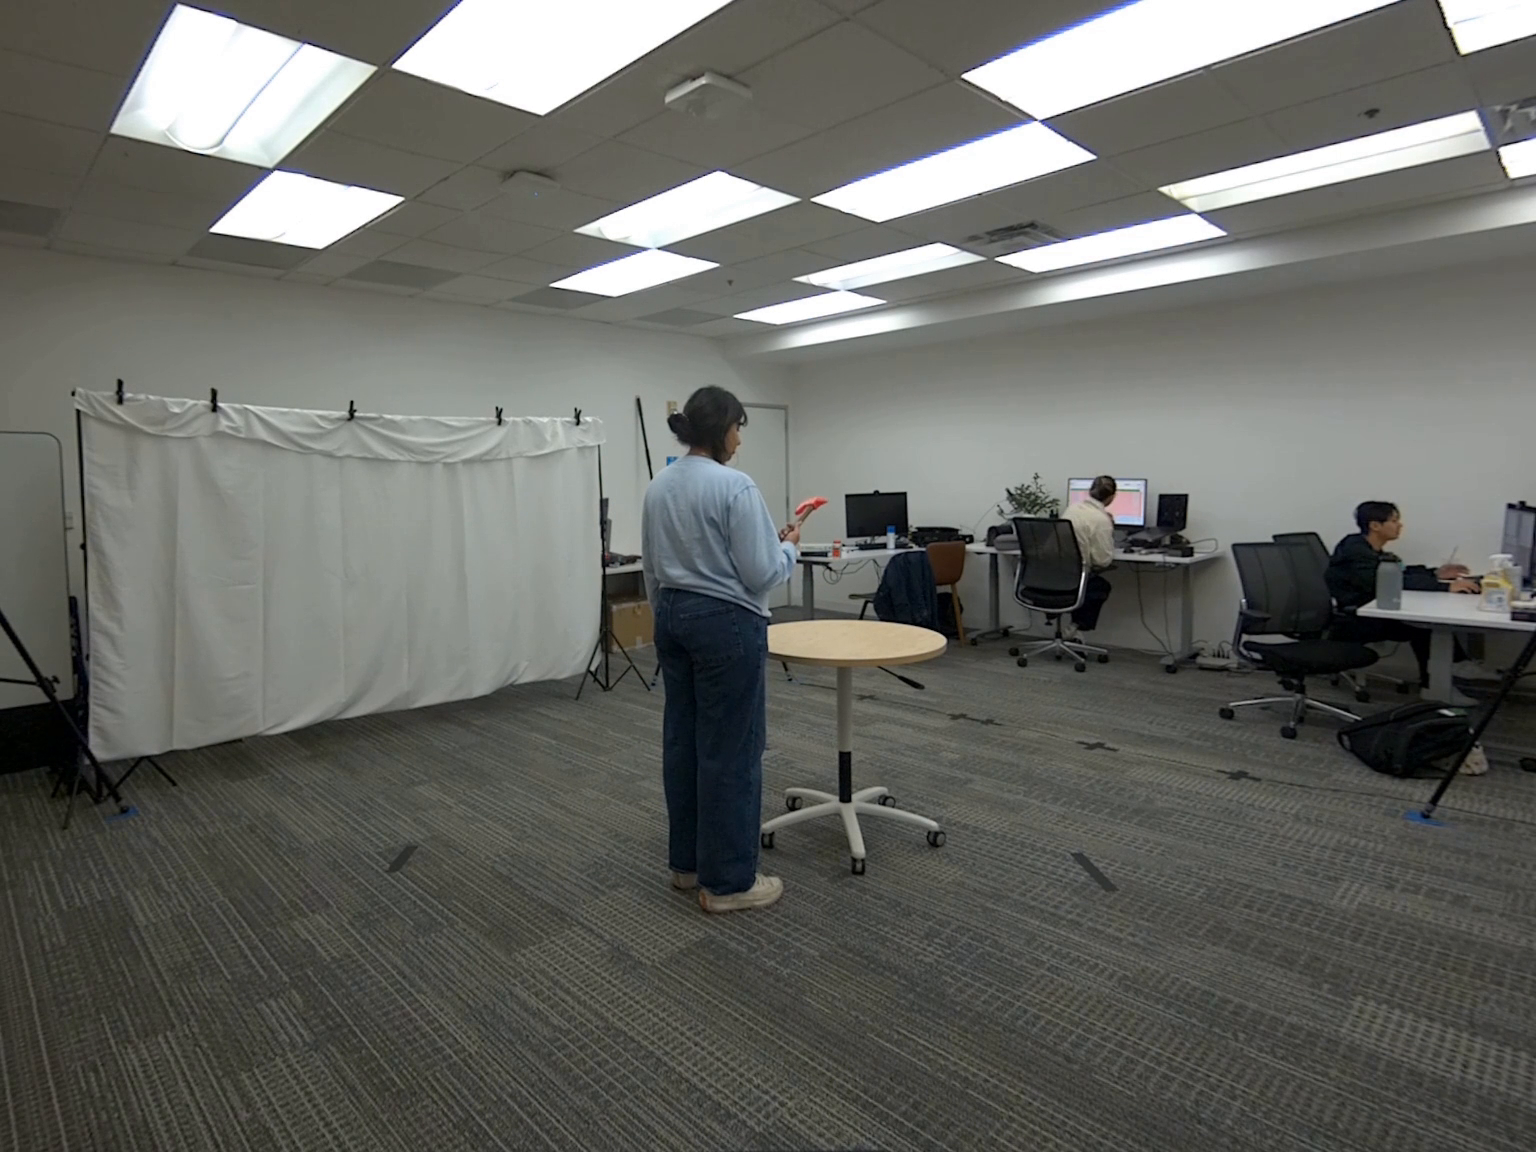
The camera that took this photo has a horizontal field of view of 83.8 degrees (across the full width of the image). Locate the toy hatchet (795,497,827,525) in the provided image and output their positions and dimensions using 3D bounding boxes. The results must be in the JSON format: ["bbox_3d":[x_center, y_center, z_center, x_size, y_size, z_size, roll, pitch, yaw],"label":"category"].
[{"bbox_3d":[0.089,-0.192,2.987,0.269,0.029,0.135,-43,28,-20],"label":"toy hatchet"}]
